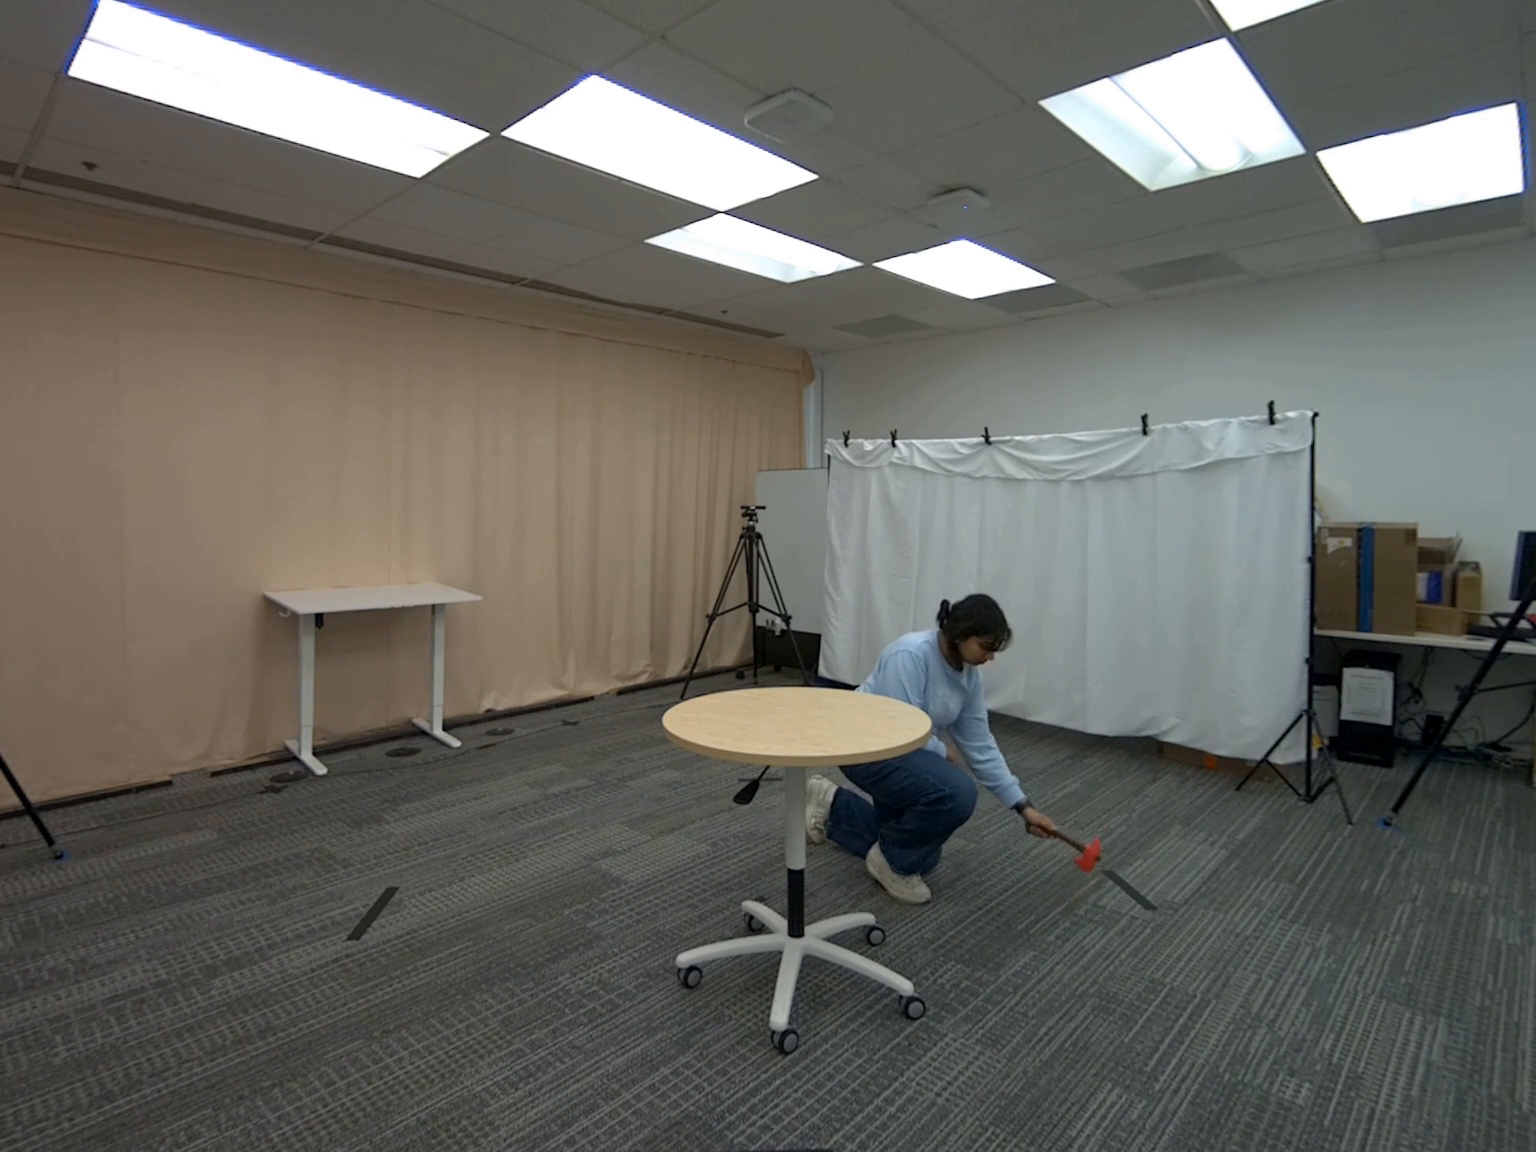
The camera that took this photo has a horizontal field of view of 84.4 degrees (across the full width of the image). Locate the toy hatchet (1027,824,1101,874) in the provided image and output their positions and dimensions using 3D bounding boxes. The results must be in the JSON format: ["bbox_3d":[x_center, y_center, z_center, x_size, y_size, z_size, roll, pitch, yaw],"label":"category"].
[{"bbox_3d":[1.021,0.918,2.889,0.029,0.131,0.278,-1,-2,-38],"label":"toy hatchet"}]
